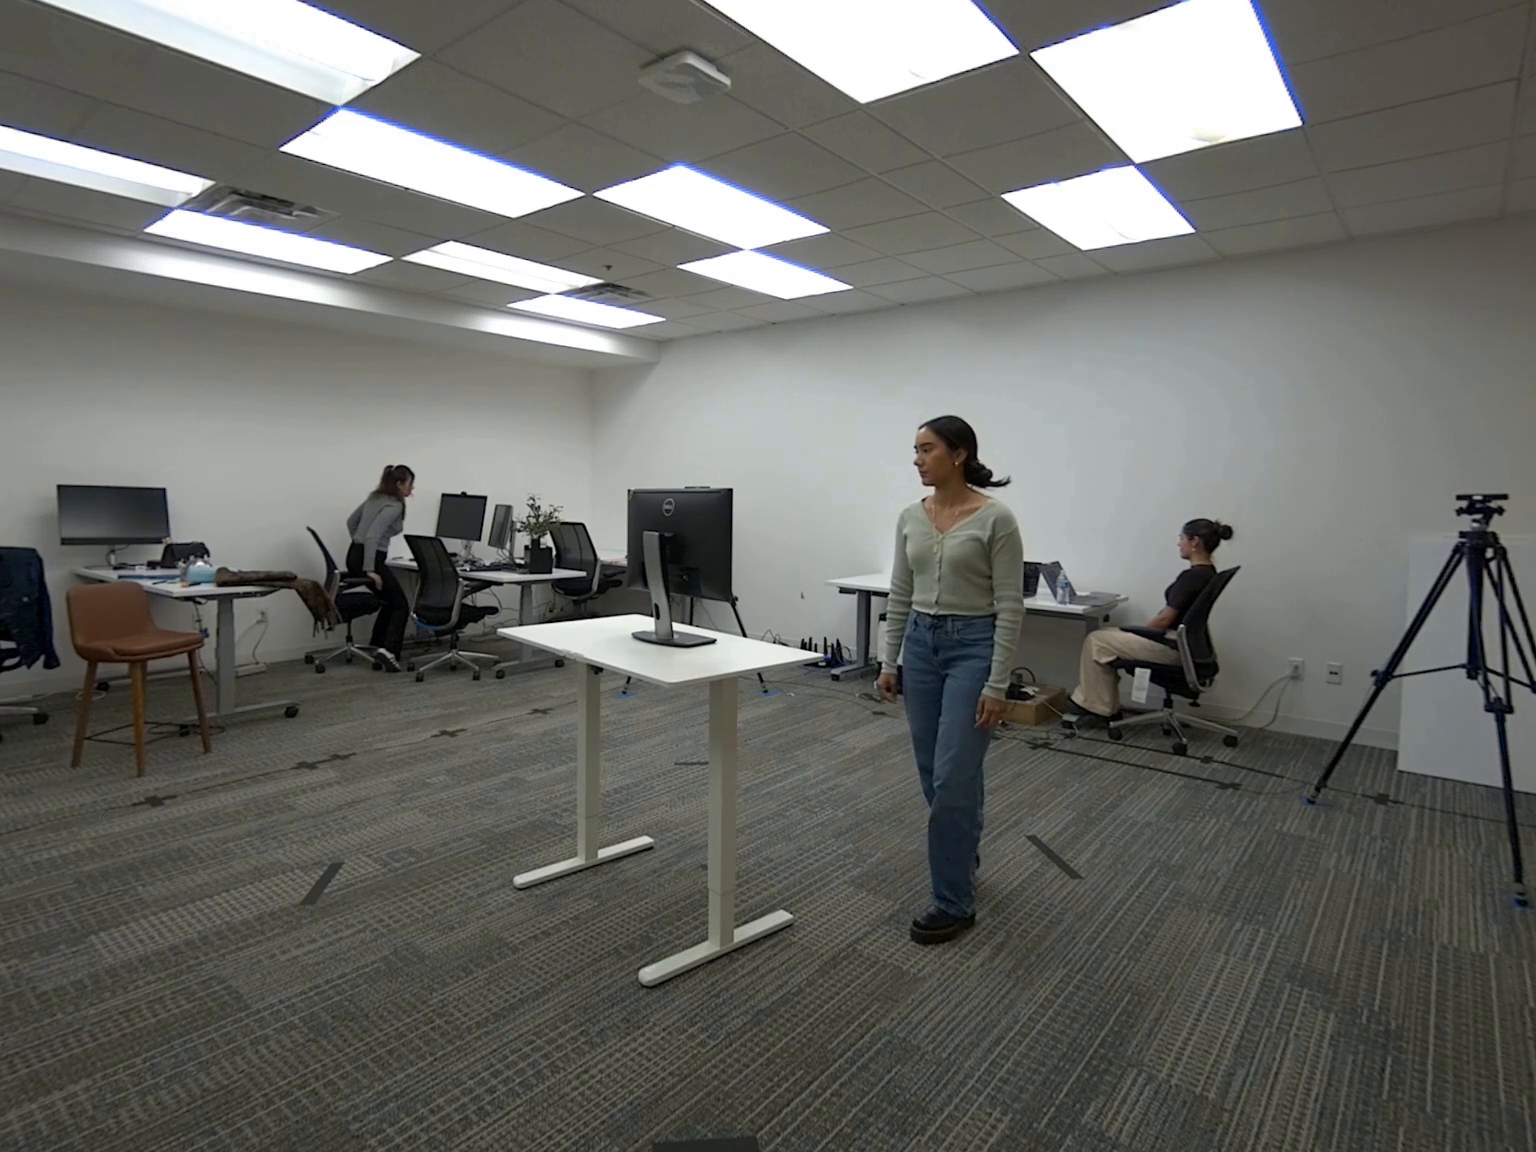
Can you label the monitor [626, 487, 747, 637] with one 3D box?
[{"bbox_3d":[-0.331,-0.031,2.799,0.557,0.523,0.181,4,0,44],"label":"monitor"}]
